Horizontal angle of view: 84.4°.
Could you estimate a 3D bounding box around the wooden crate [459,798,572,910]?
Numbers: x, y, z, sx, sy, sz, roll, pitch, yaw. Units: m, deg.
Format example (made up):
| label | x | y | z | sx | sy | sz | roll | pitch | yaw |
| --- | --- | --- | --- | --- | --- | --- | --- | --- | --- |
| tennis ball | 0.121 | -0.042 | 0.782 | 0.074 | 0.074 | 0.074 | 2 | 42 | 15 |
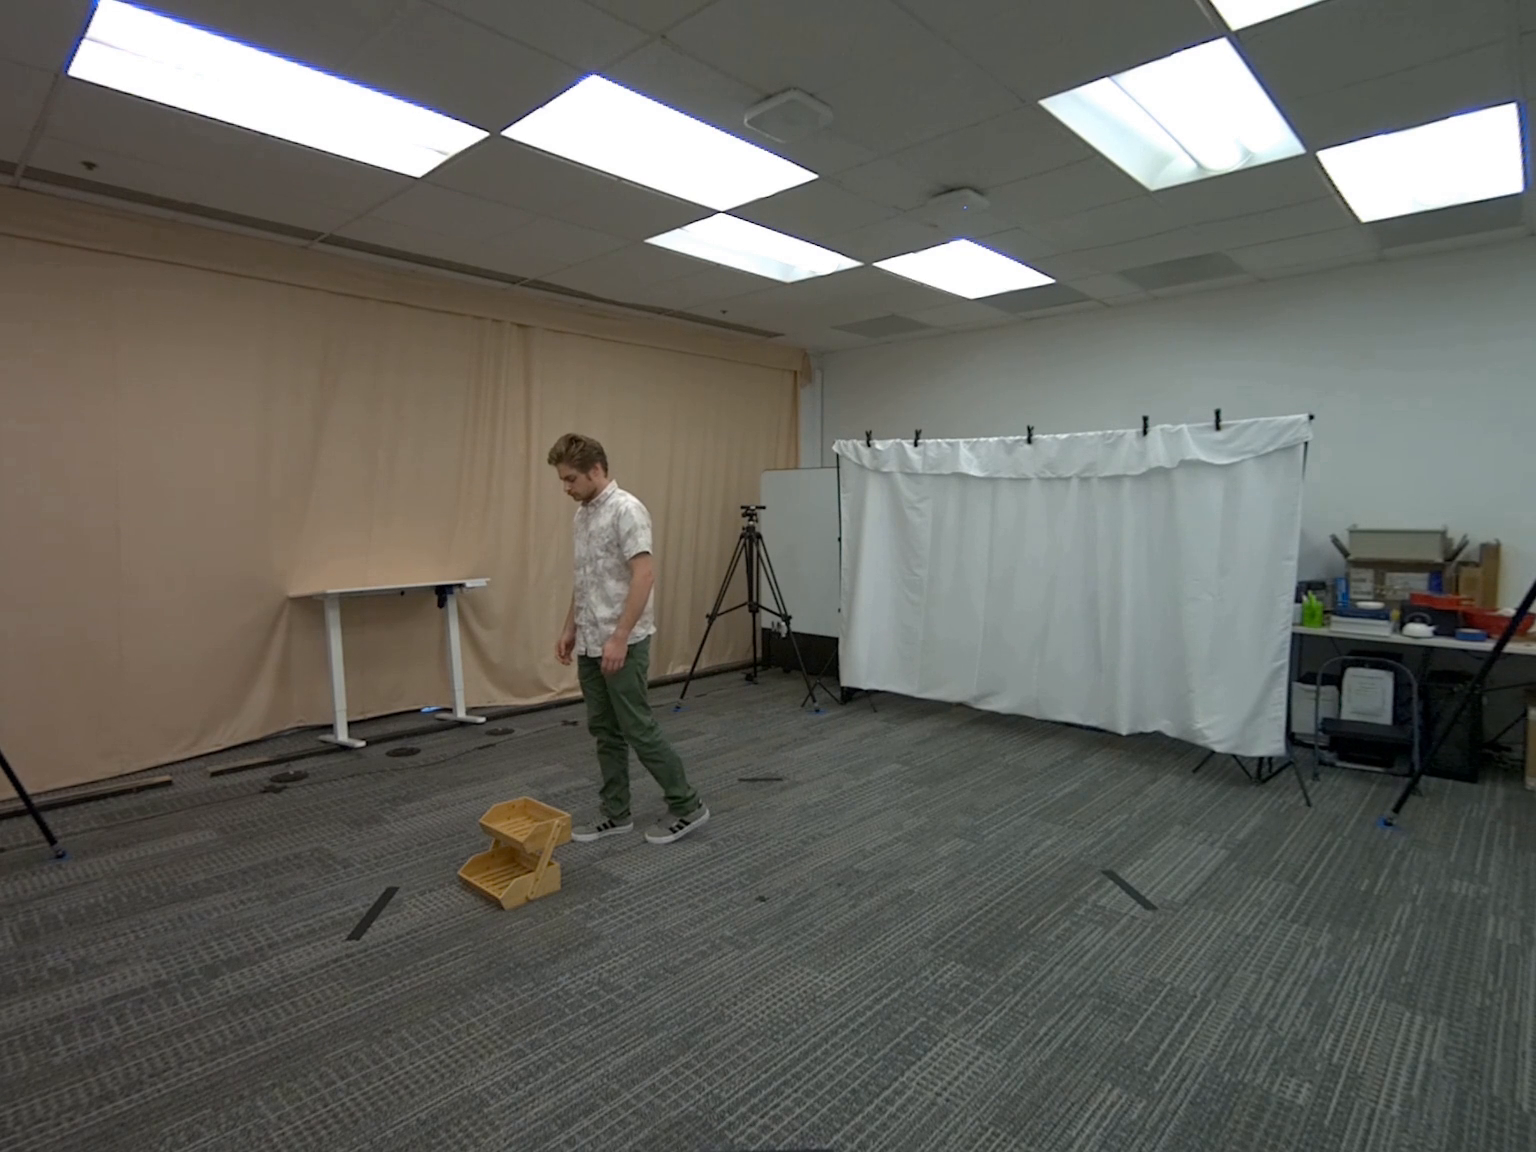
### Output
| label | x | y | z | sx | sy | sz | roll | pitch | yaw |
| --- | --- | --- | --- | --- | --- | --- | --- | --- | --- |
| wooden crate | -0.939 | 1.010 | 3.107 | 0.335 | 0.273 | 0.292 | 3 | 4 | 42 |
